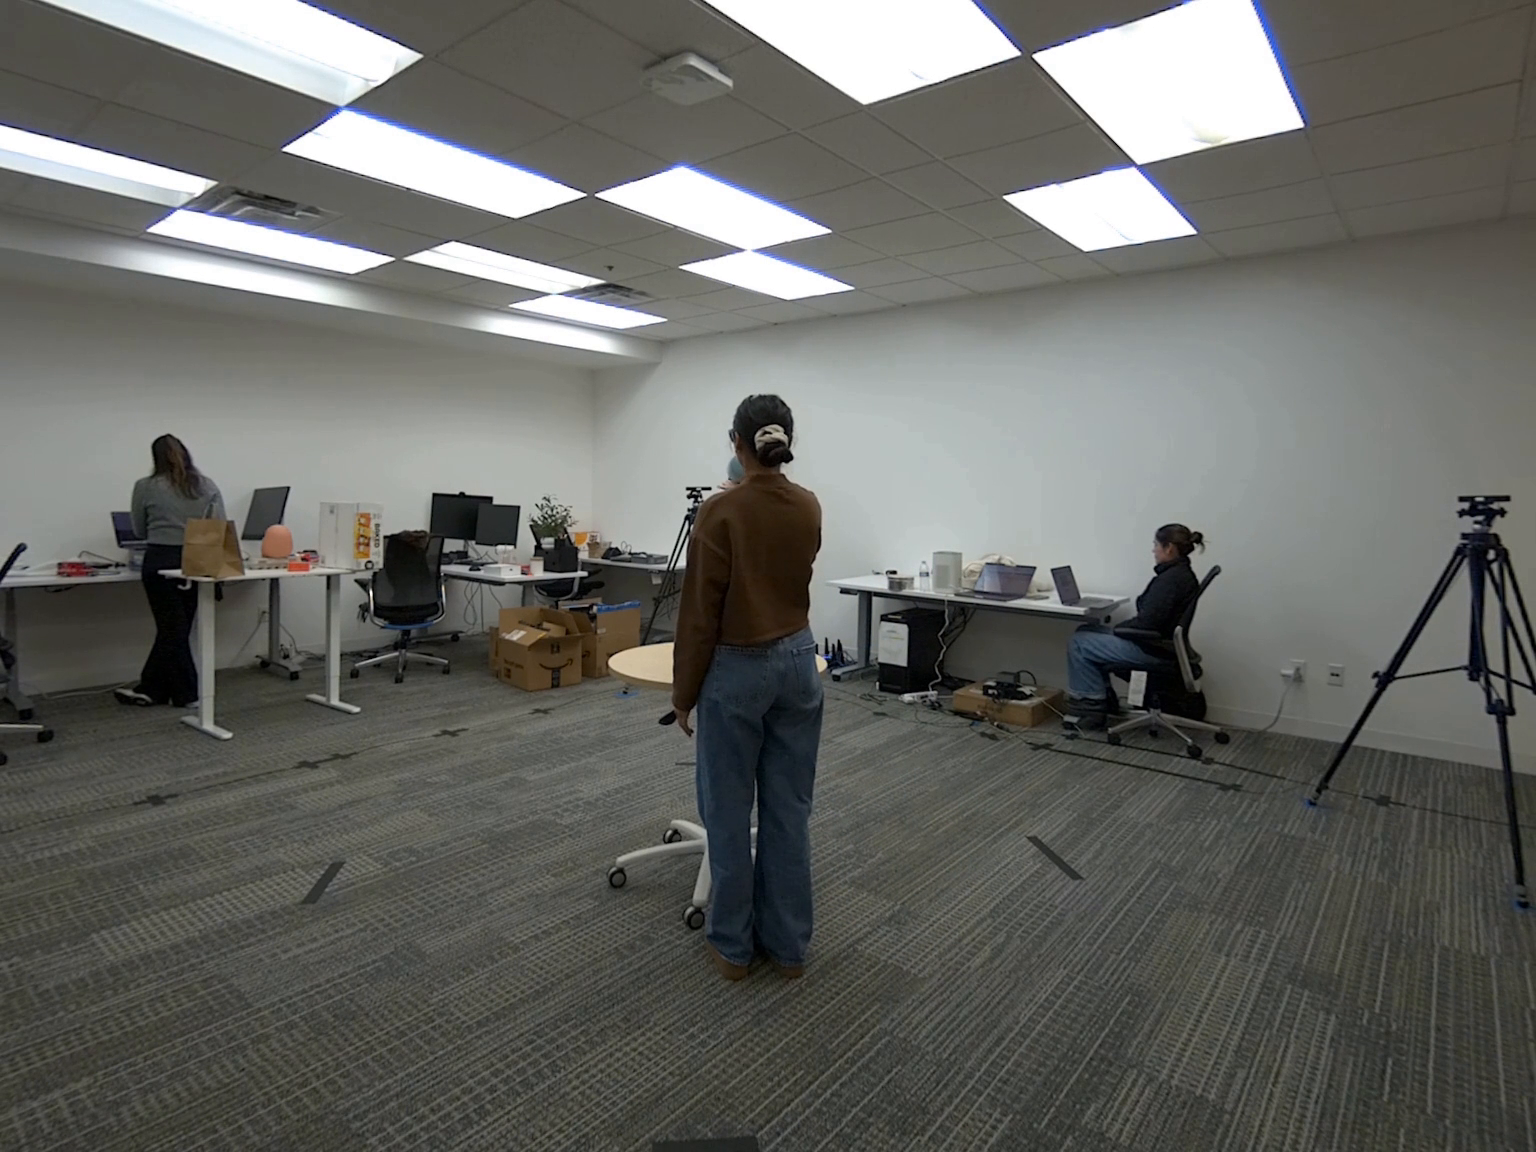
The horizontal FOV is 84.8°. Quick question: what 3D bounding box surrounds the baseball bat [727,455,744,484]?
[{"bbox_3d":[-0.110,-0.364,2.971,0.089,0.089,0.547,0,5,-5],"label":"baseball bat"}]
